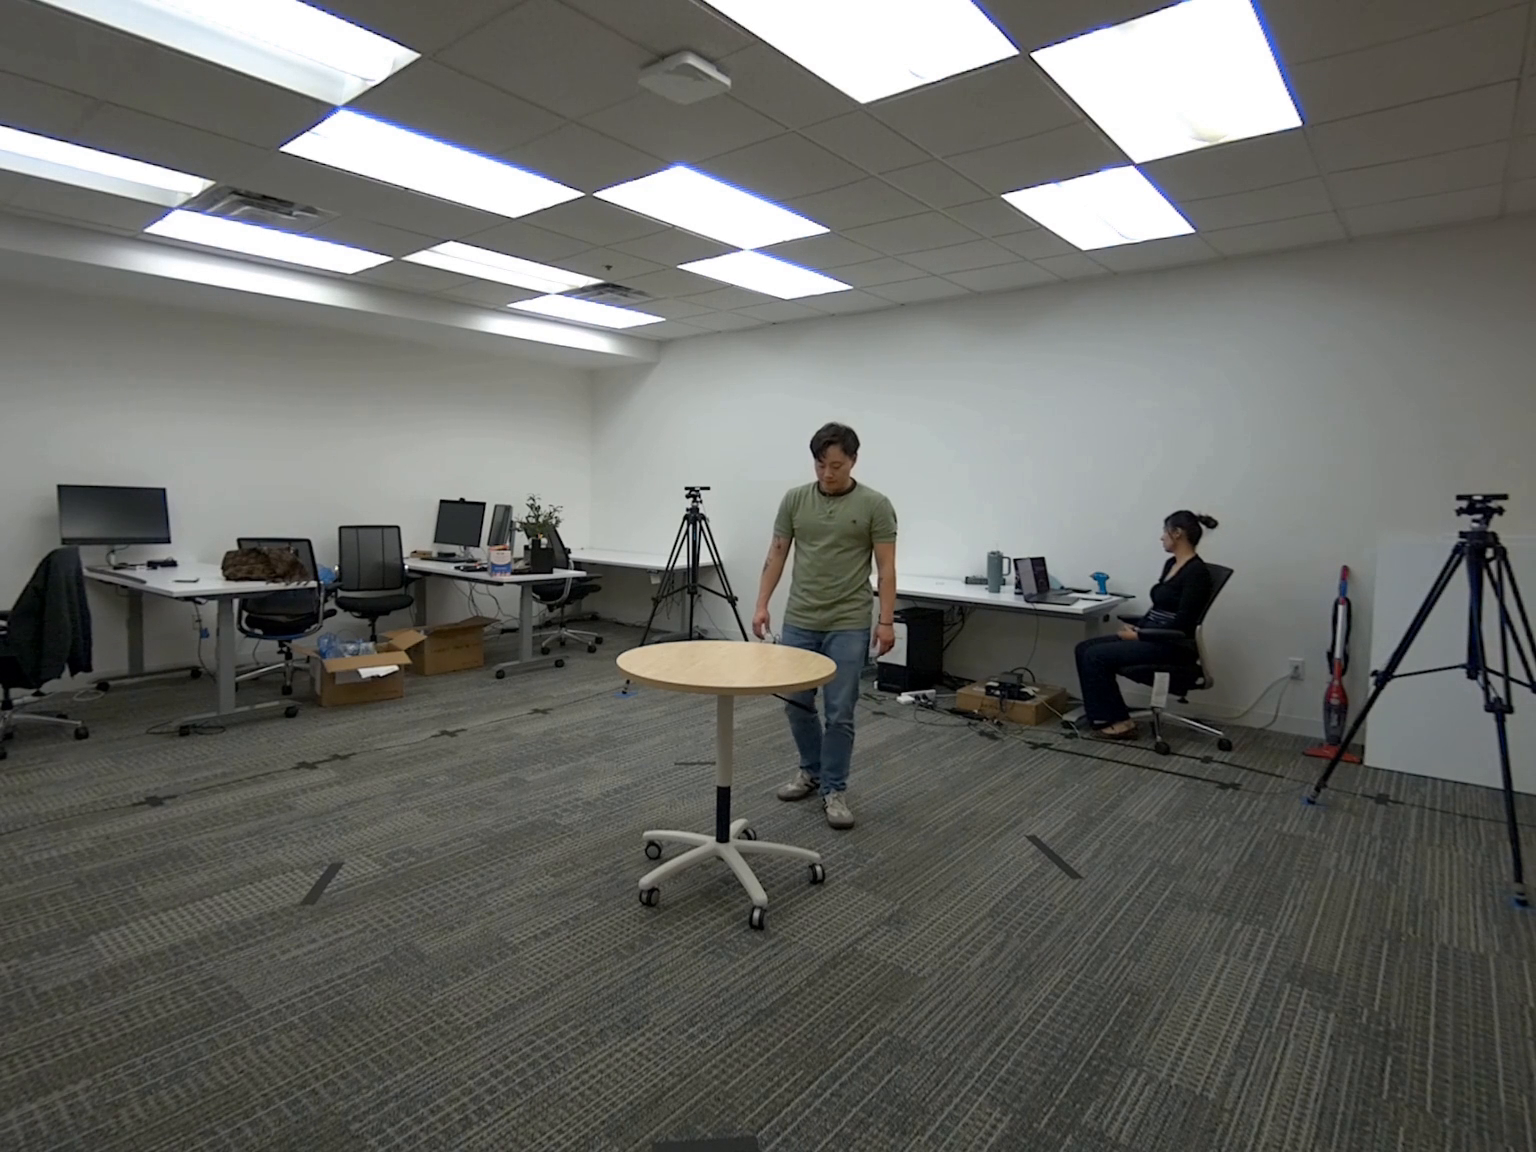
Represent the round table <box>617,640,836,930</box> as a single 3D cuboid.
[{"bbox_3d":[-0.170,0.688,2.999,0.763,0.791,0.768,1,4,-2],"label":"round table"}]
